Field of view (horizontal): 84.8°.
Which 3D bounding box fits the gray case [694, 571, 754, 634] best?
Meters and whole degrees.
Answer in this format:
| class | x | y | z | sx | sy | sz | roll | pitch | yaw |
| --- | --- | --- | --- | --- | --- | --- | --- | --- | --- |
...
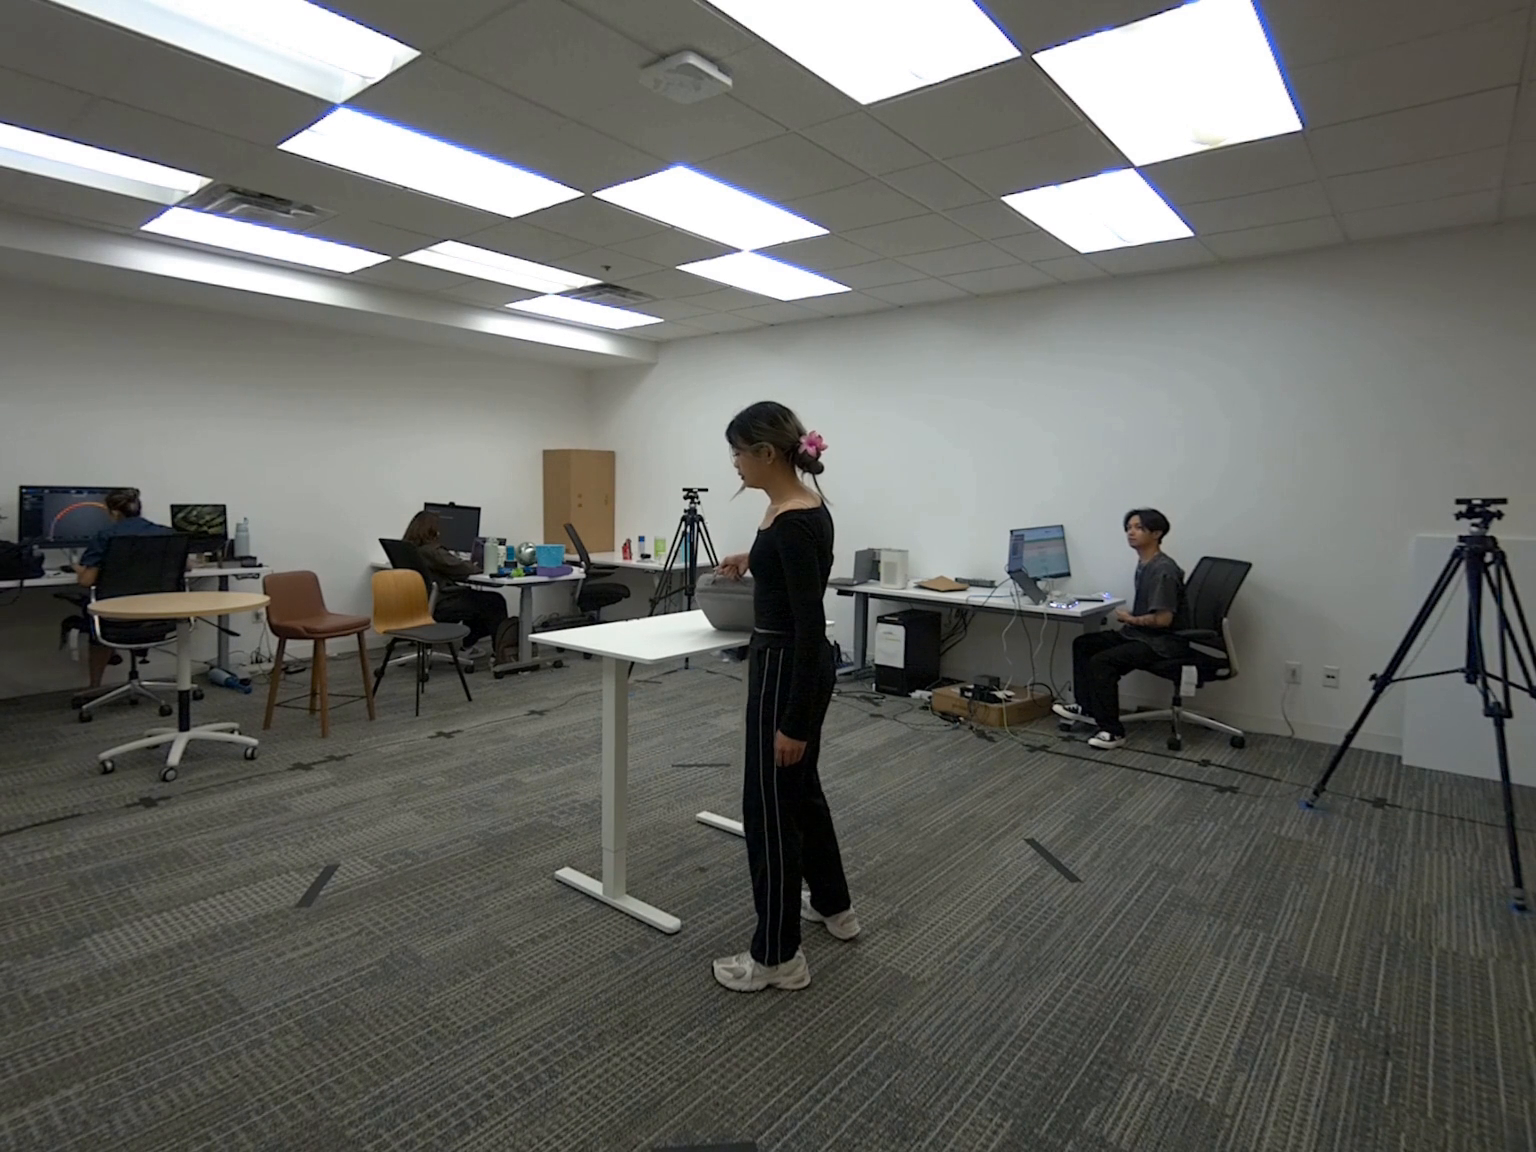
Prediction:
| class | x | y | z | sx | sy | sz | roll | pitch | yaw |
| --- | --- | --- | --- | --- | --- | --- | --- | --- | --- |
| gray case | -0.120 | 0.092 | 2.962 | 0.263 | 0.106 | 0.250 | 3 | -32 | 21 |
